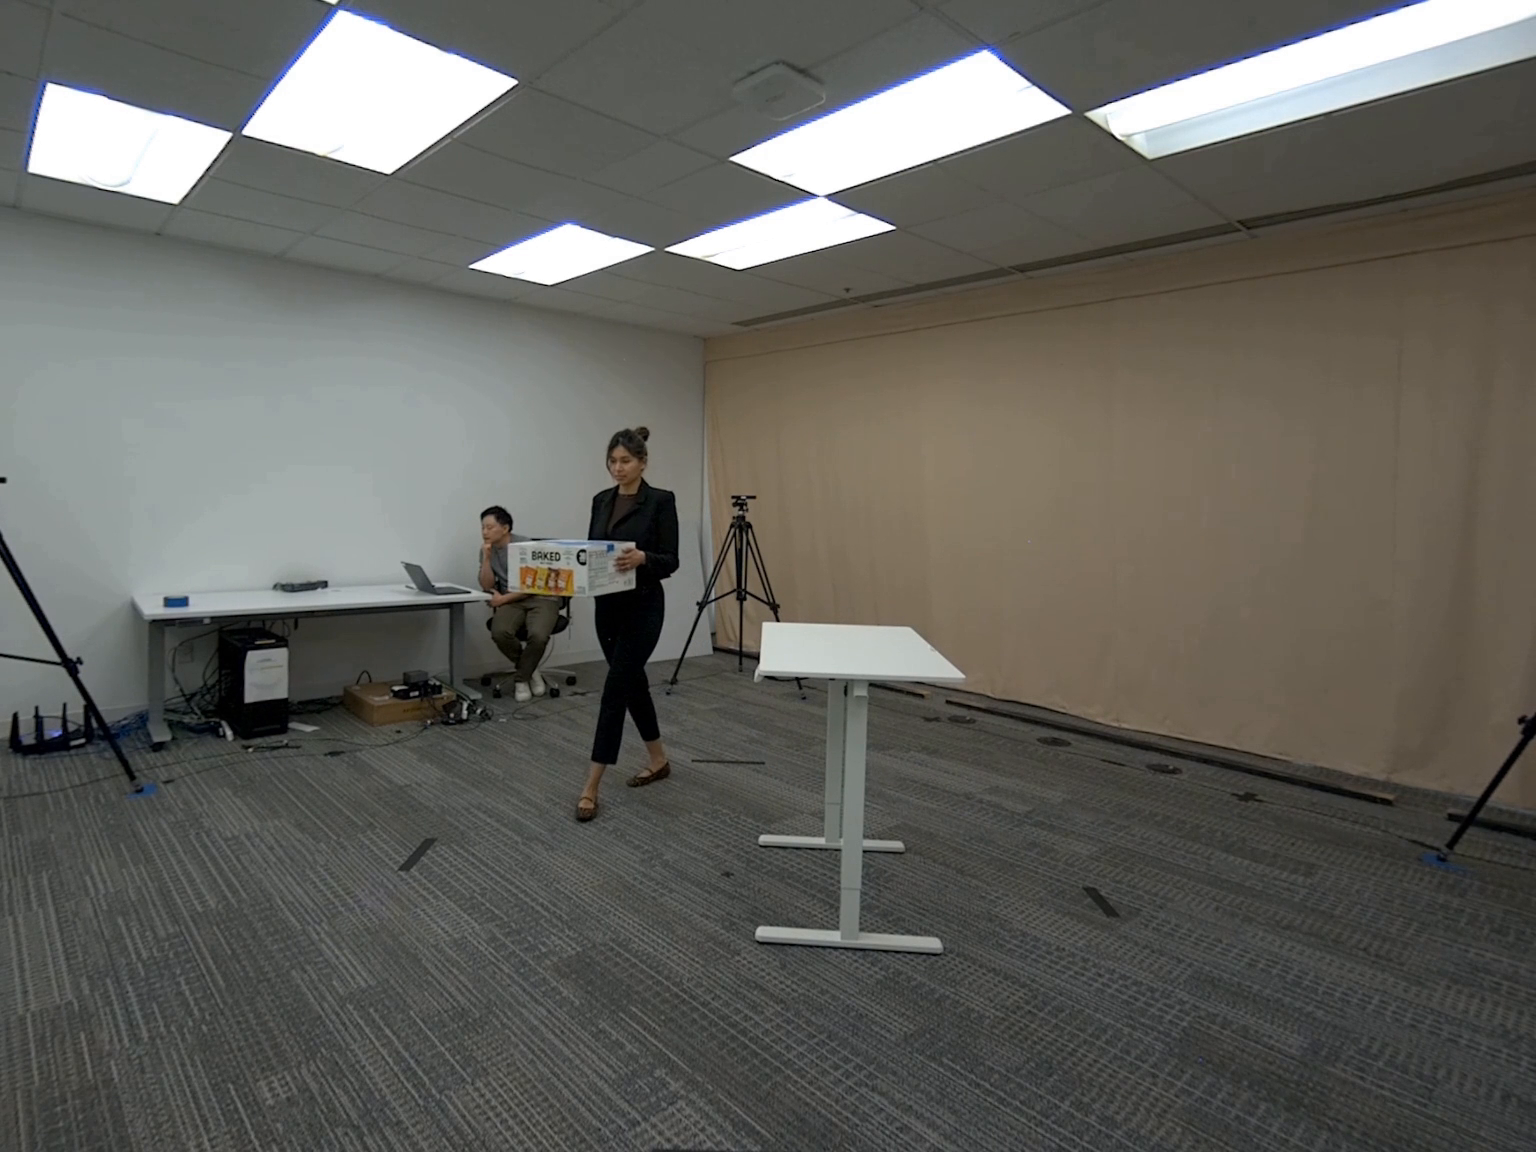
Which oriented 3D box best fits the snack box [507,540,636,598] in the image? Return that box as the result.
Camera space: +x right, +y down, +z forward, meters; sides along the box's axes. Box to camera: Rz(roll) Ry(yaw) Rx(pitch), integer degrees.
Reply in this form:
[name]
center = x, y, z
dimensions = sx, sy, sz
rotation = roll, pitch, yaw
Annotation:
[snack box]
center = -0.824, -0.045, 3.542
dimensions = 0.413, 0.205, 0.335
rotation = 3, 6, 26
